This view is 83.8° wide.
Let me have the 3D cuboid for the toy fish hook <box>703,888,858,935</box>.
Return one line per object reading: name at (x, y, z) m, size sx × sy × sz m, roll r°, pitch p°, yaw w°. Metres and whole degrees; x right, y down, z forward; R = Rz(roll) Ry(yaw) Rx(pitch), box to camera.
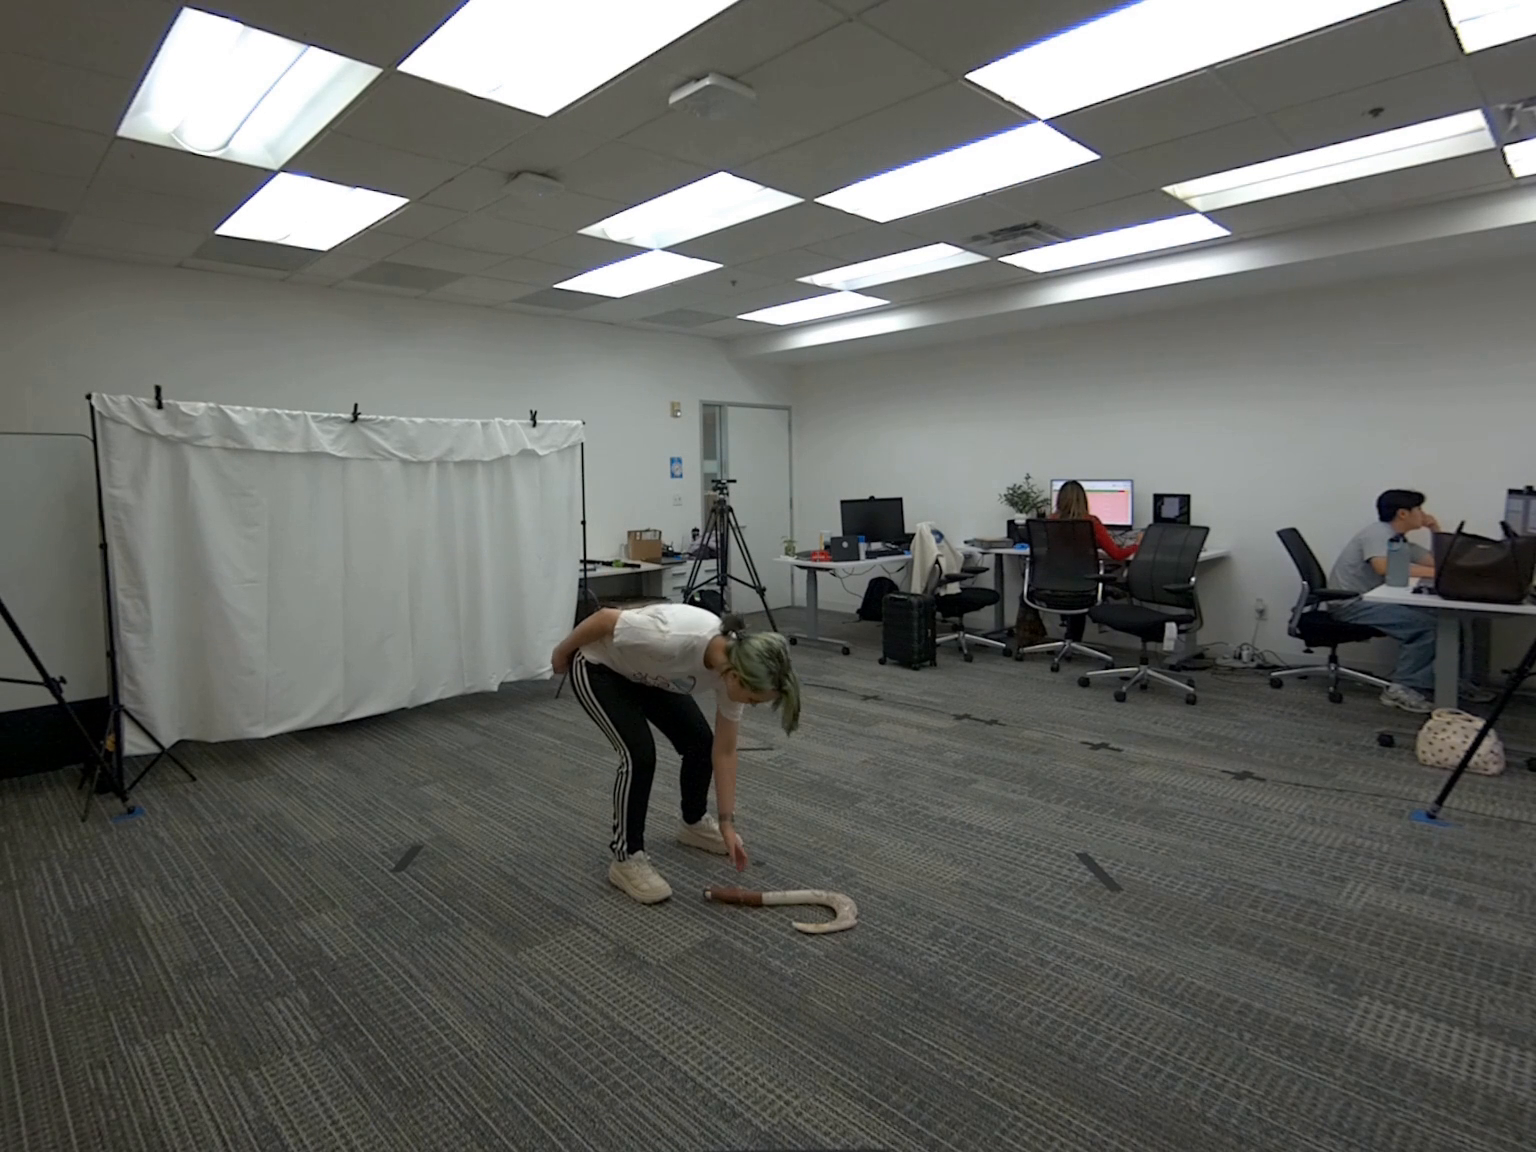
toy fish hook at (0.034, 1.068, 2.741) m, size 0.512 × 0.048 × 0.223 m, roll 0°, pitch 5°, yaw 11°
